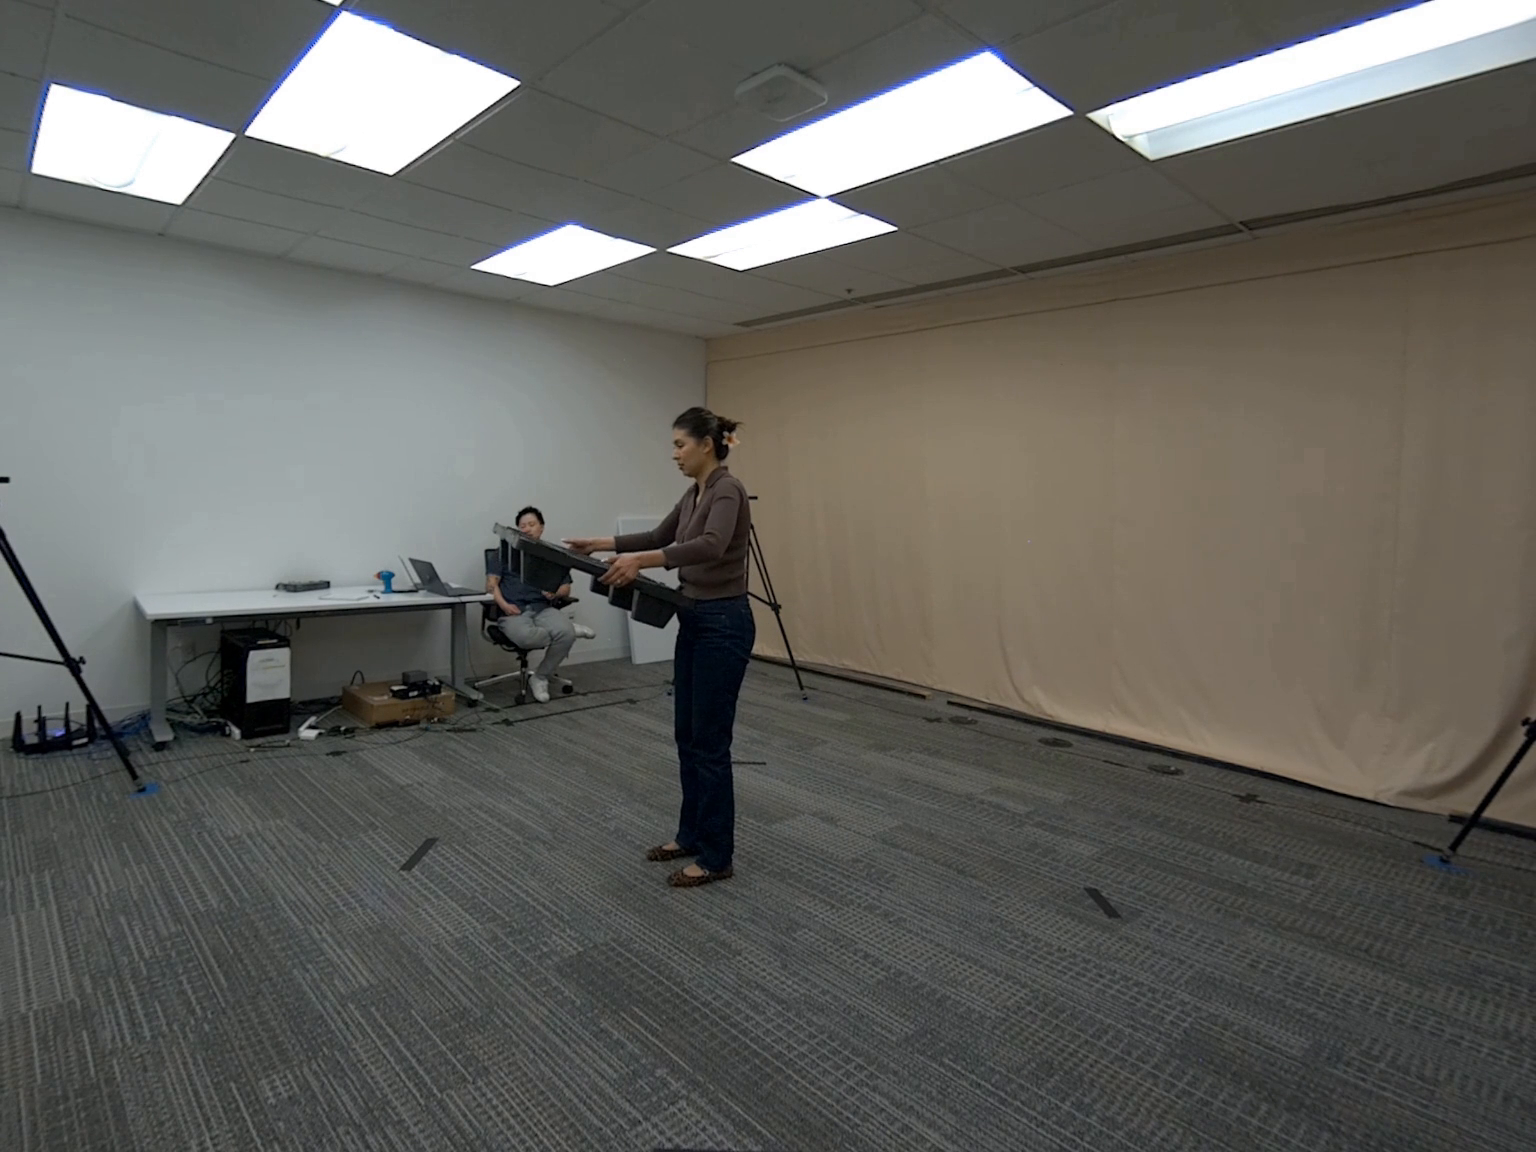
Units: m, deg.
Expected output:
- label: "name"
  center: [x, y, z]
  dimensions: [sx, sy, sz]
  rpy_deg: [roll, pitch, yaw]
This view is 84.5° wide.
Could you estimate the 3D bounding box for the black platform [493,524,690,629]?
- label: "black platform"
  center: [-0.667, -0.004, 2.981]
  dimensions: [0.592, 0.143, 0.822]
  rpy_deg: [21, -2, -23]
